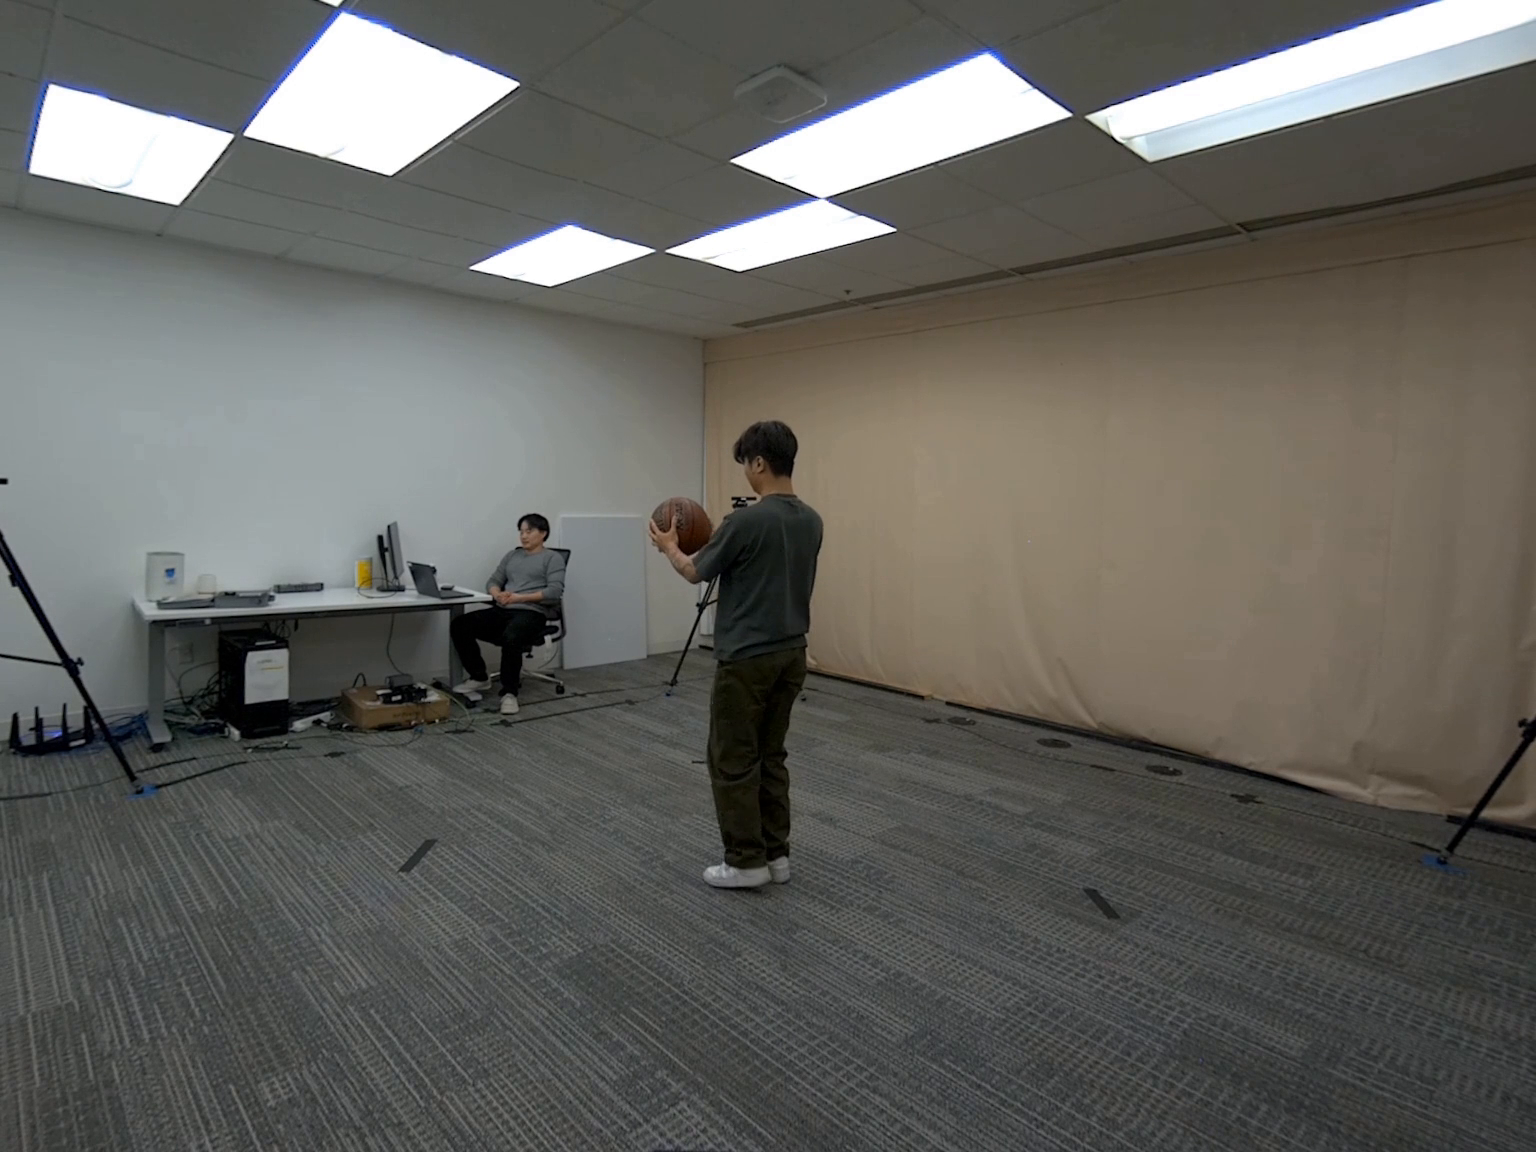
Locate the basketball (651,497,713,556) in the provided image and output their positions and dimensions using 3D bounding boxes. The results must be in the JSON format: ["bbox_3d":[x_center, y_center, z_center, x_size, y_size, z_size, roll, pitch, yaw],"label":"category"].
[{"bbox_3d":[-0.356,-0.187,3.353,0.236,0.235,0.237,1,4,-1],"label":"basketball"}]
